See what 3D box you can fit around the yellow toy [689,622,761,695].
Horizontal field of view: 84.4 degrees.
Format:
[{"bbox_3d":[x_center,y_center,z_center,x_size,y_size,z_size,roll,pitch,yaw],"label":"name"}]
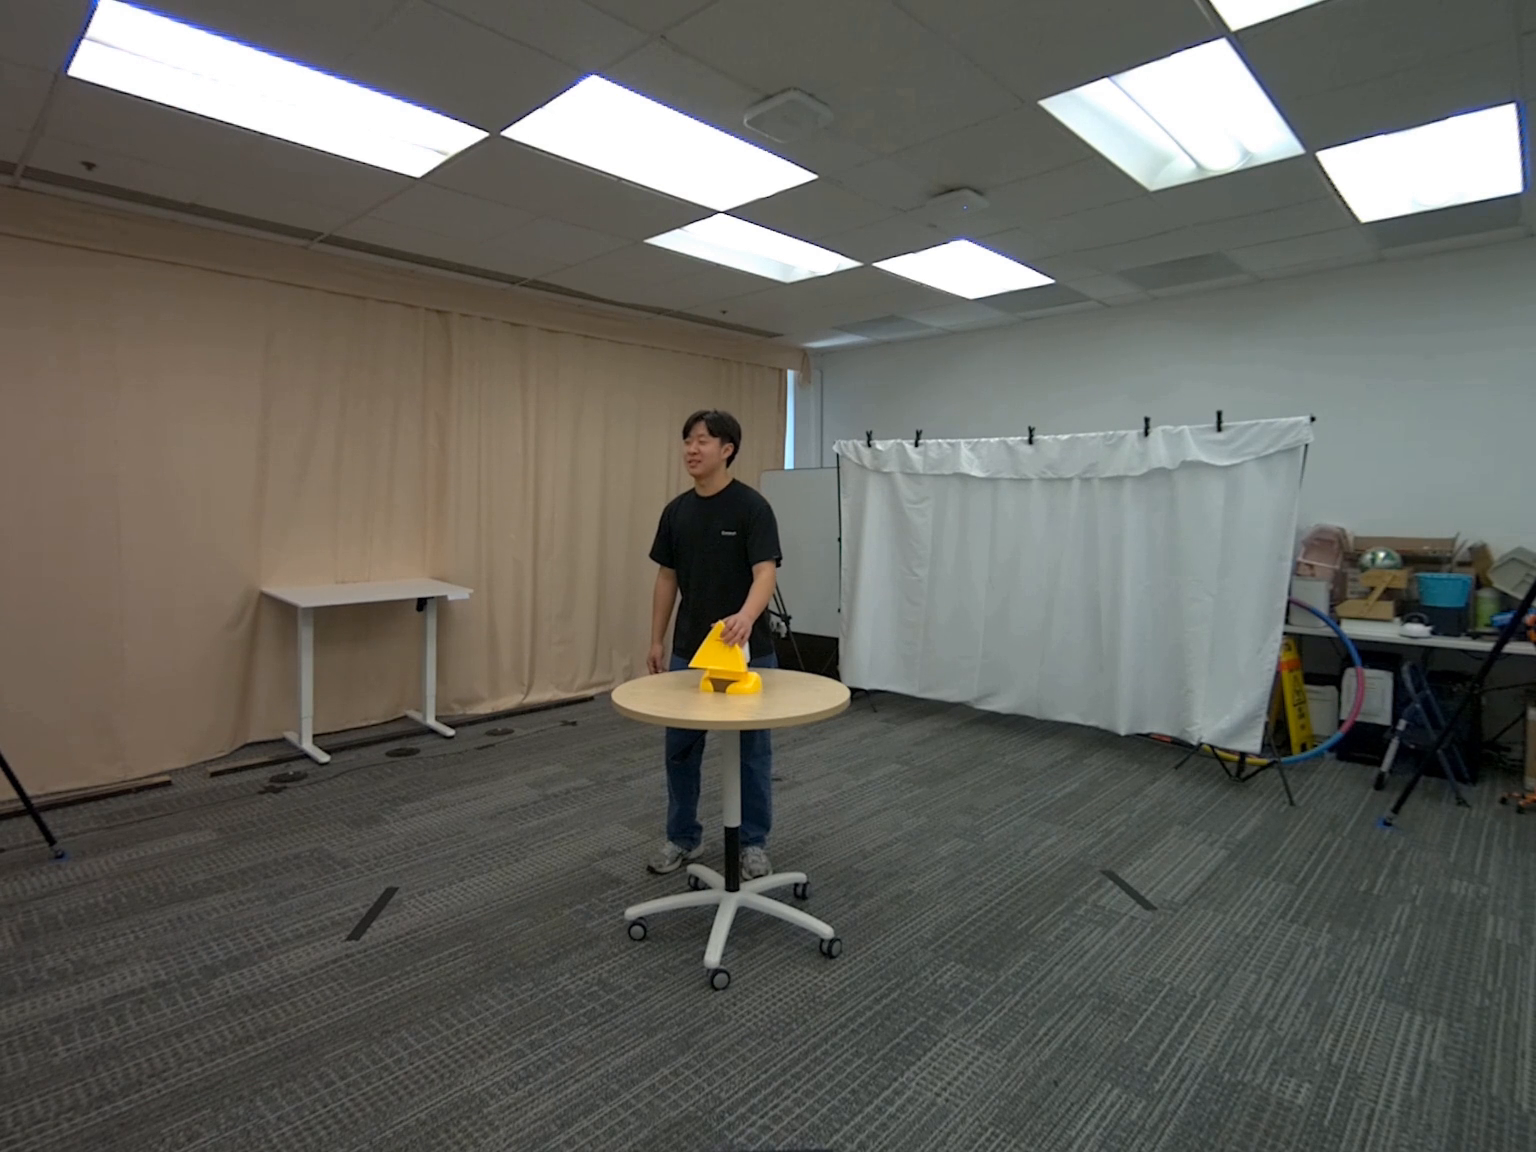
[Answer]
[{"bbox_3d":[-0.126,0.254,2.752,0.210,0.230,0.188,2,3,27],"label":"yellow toy"}]
